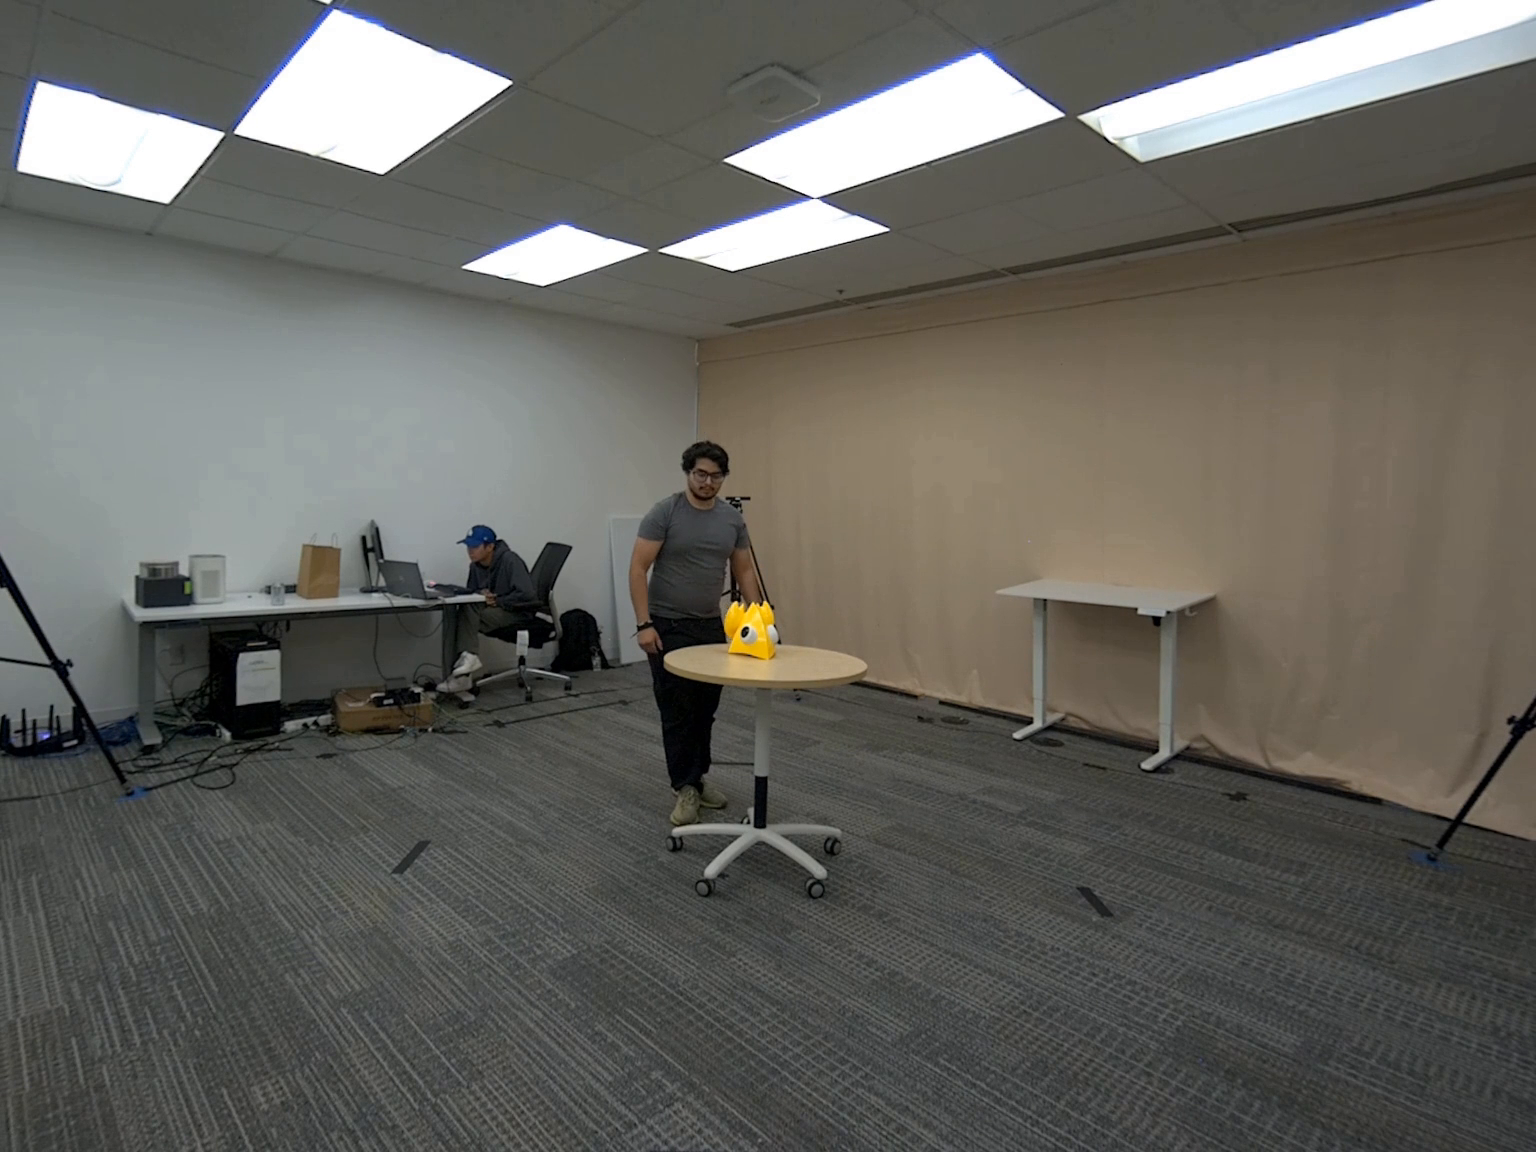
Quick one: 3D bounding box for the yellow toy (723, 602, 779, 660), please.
[{"bbox_3d":[-0.044,0.226,3.283,0.201,0.191,0.237,0,17,-22],"label":"yellow toy"}]
